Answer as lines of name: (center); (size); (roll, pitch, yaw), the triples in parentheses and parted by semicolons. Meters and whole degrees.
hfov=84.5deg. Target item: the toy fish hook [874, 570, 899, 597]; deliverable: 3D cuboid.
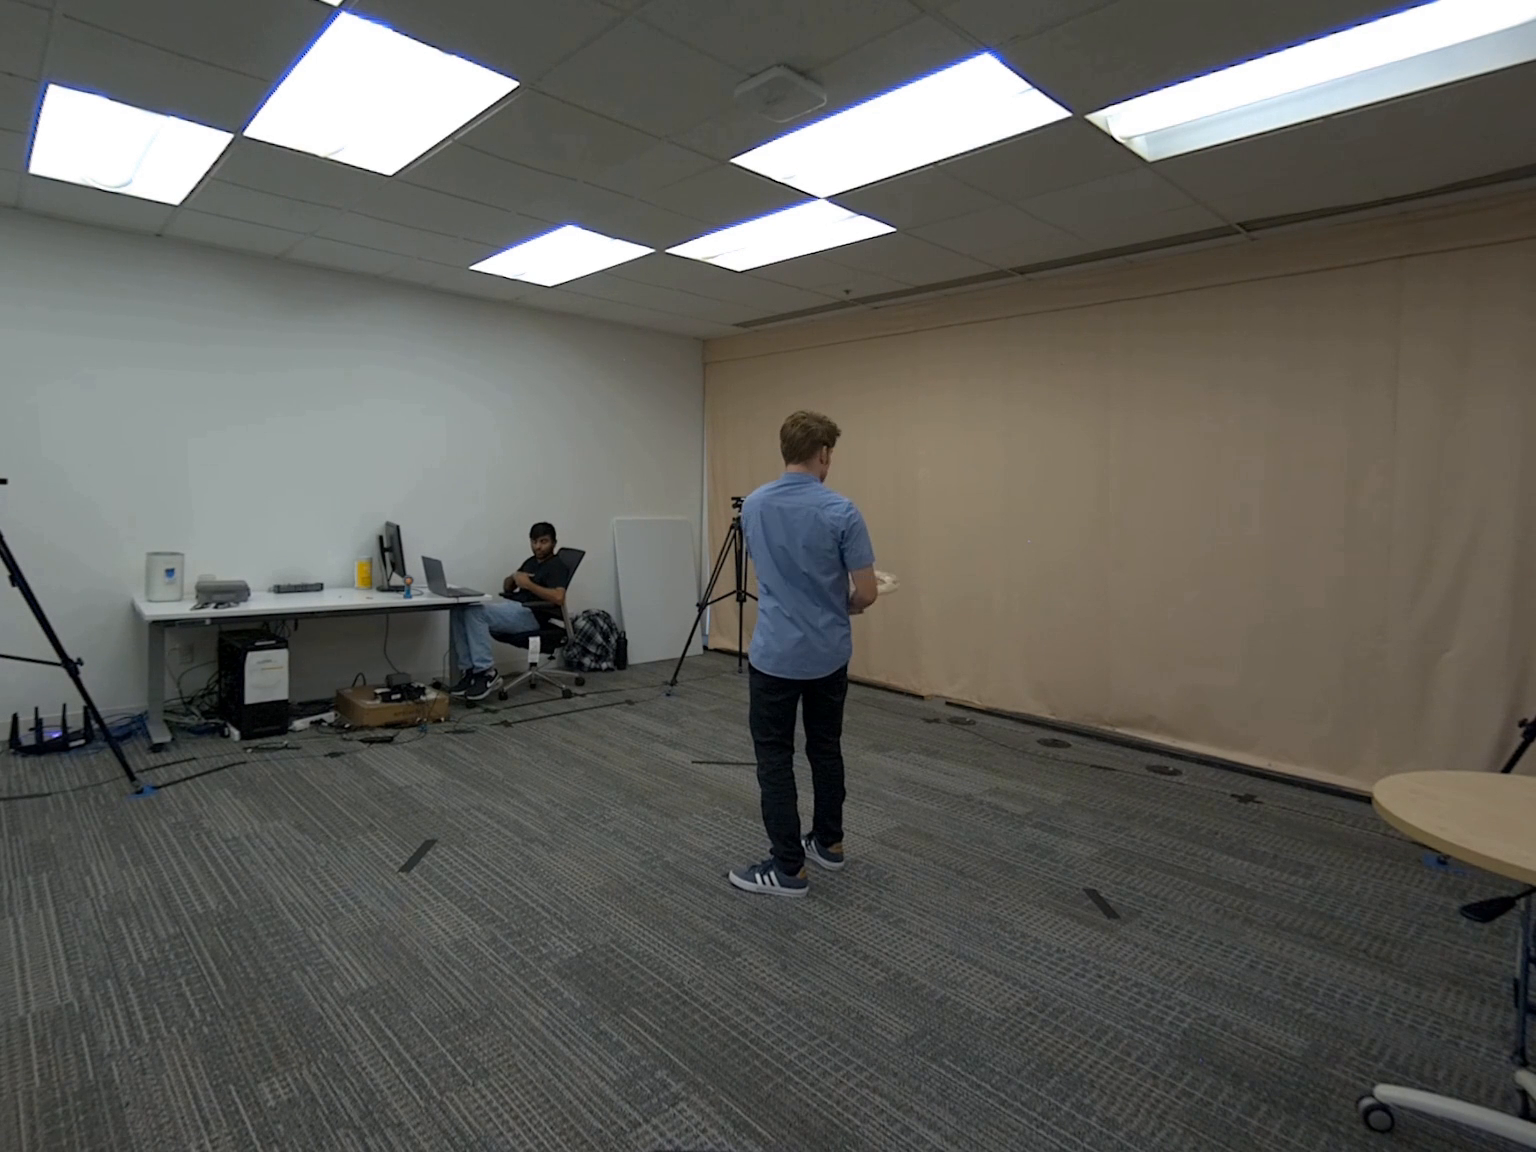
toy fish hook: (0.360, 0.059, 3.426); (0.229, 0.048, 0.500); (10, 16, 26)
